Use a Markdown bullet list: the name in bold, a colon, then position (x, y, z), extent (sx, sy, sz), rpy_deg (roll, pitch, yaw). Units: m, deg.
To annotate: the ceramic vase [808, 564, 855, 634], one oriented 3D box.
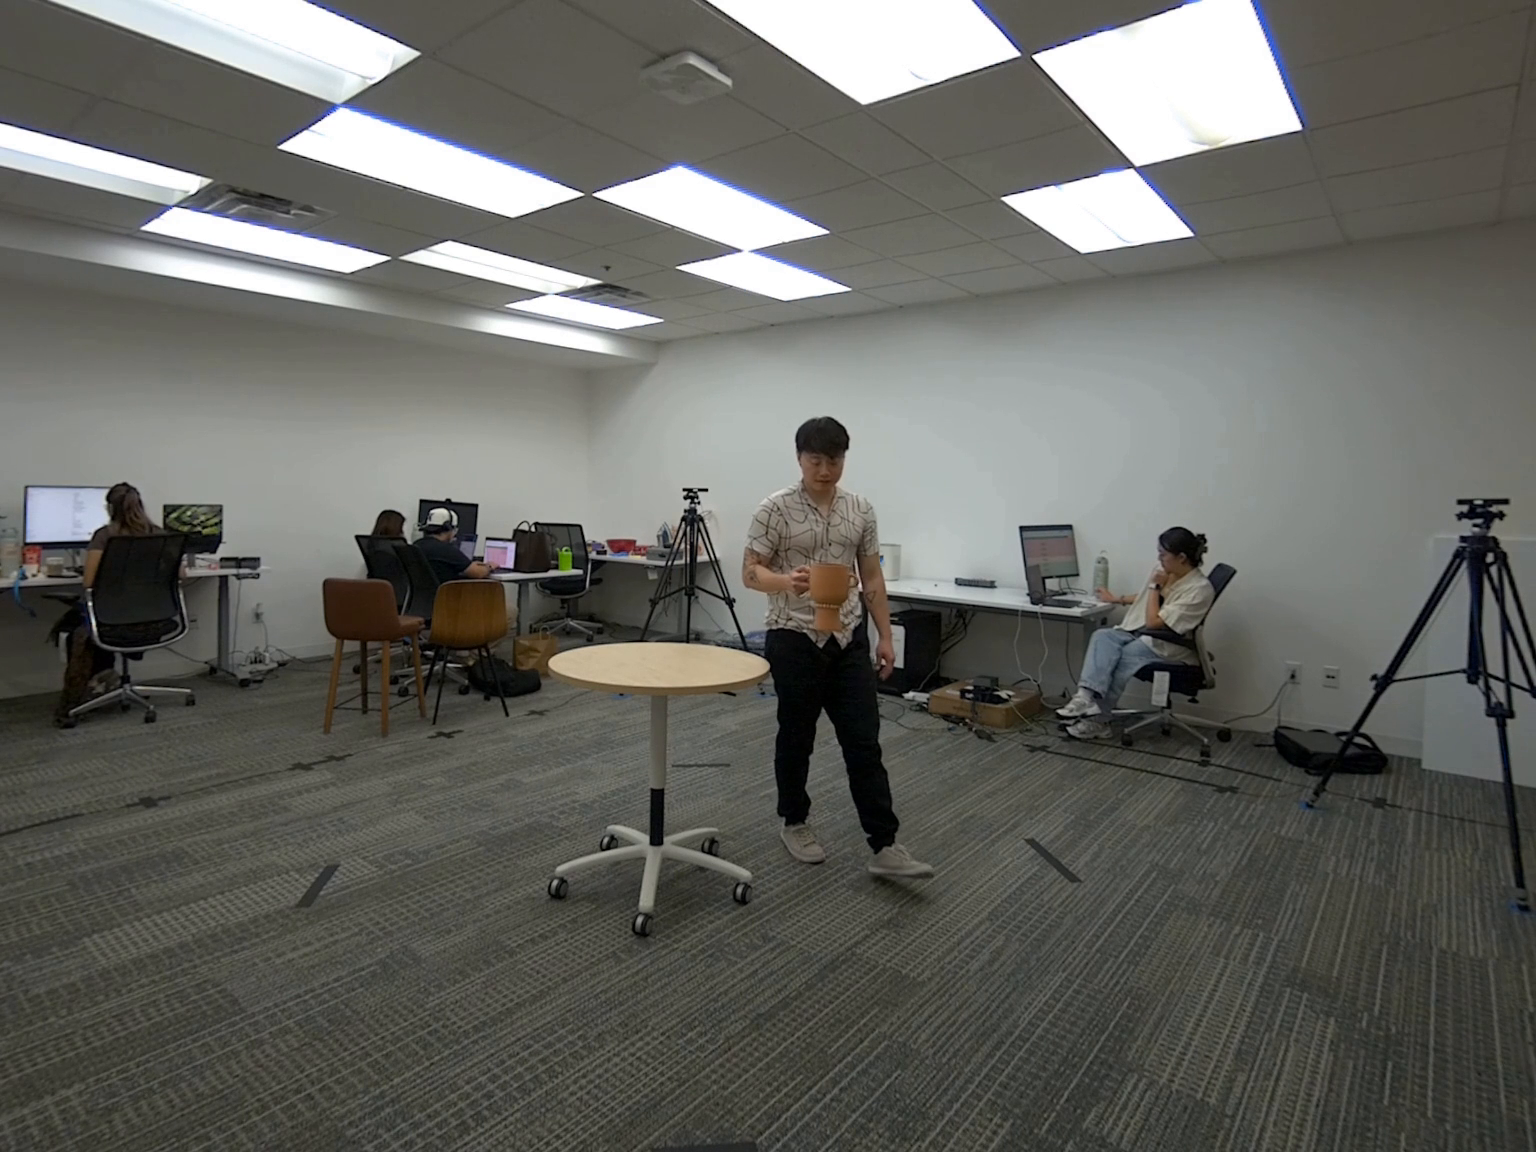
- **ceramic vase**: position (0.204, 0.066, 2.862), extent (0.130, 0.219, 0.164), rpy_deg (1, 3, -35)
